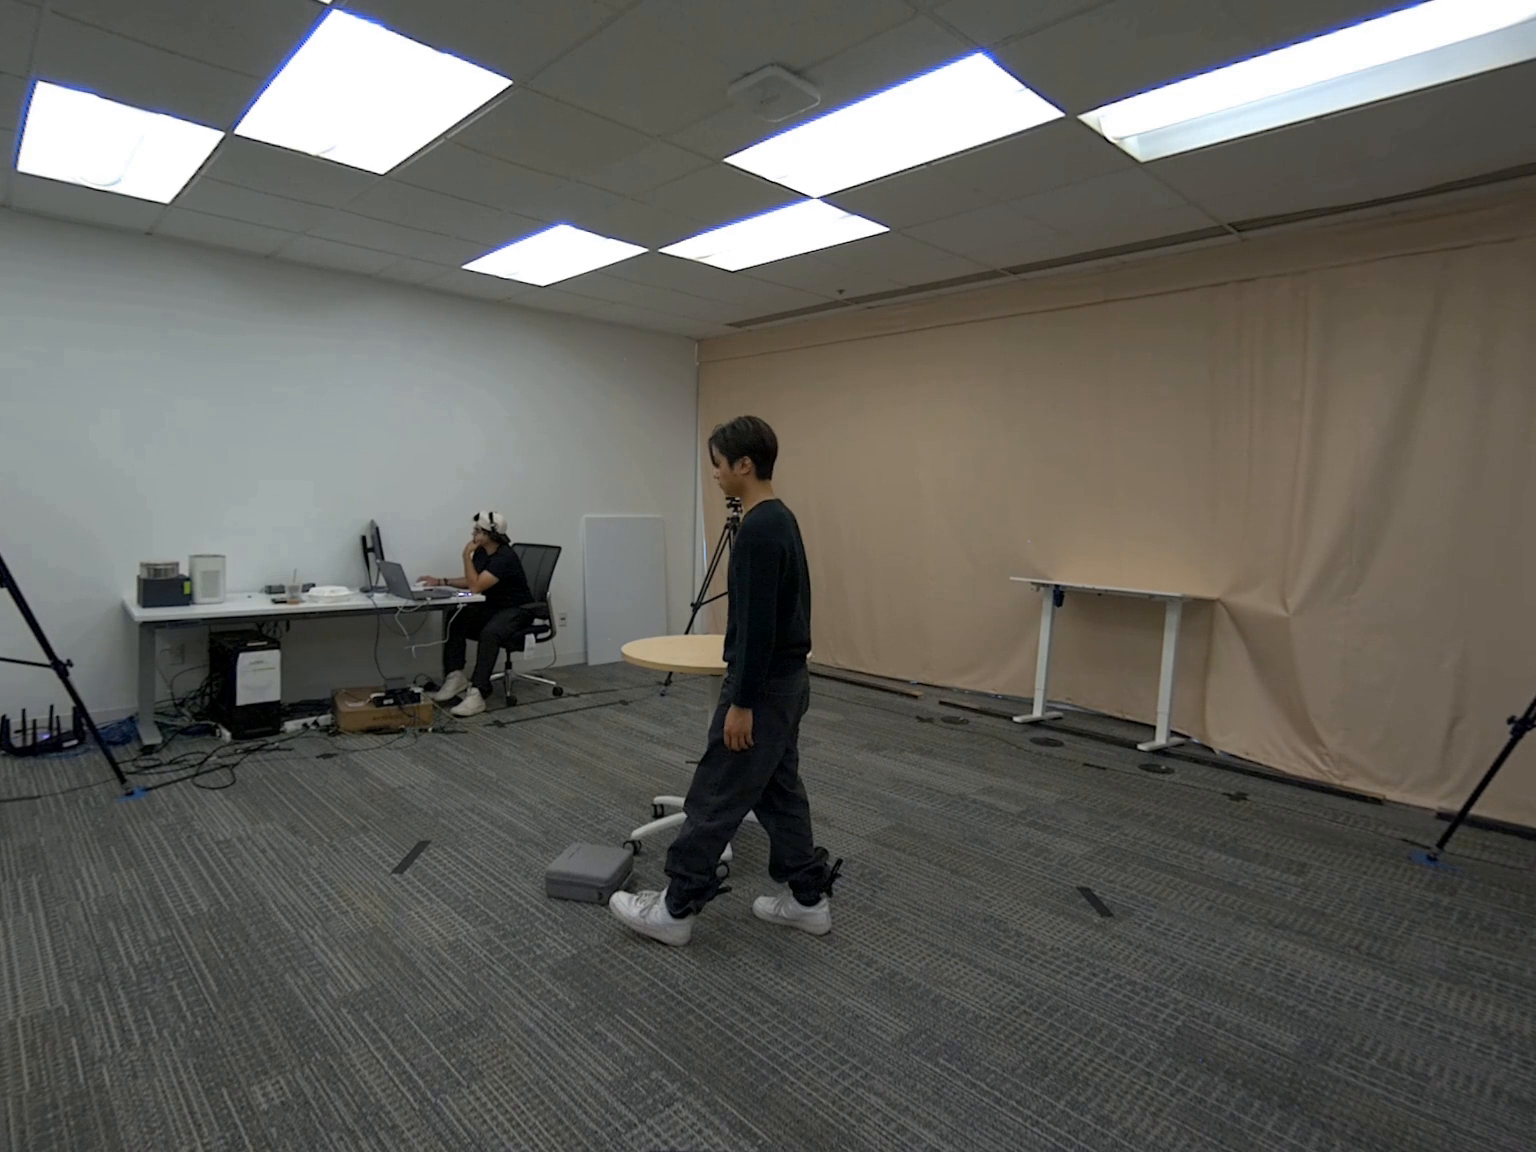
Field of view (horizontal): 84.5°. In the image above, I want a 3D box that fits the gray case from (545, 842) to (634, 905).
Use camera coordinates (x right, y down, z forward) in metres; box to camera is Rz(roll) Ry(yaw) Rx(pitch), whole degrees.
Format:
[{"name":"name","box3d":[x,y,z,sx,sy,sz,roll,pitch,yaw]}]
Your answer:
[{"name":"gray case","box3d":[-0.629,1.047,2.994,0.263,0.104,0.255,4,5,12]}]
